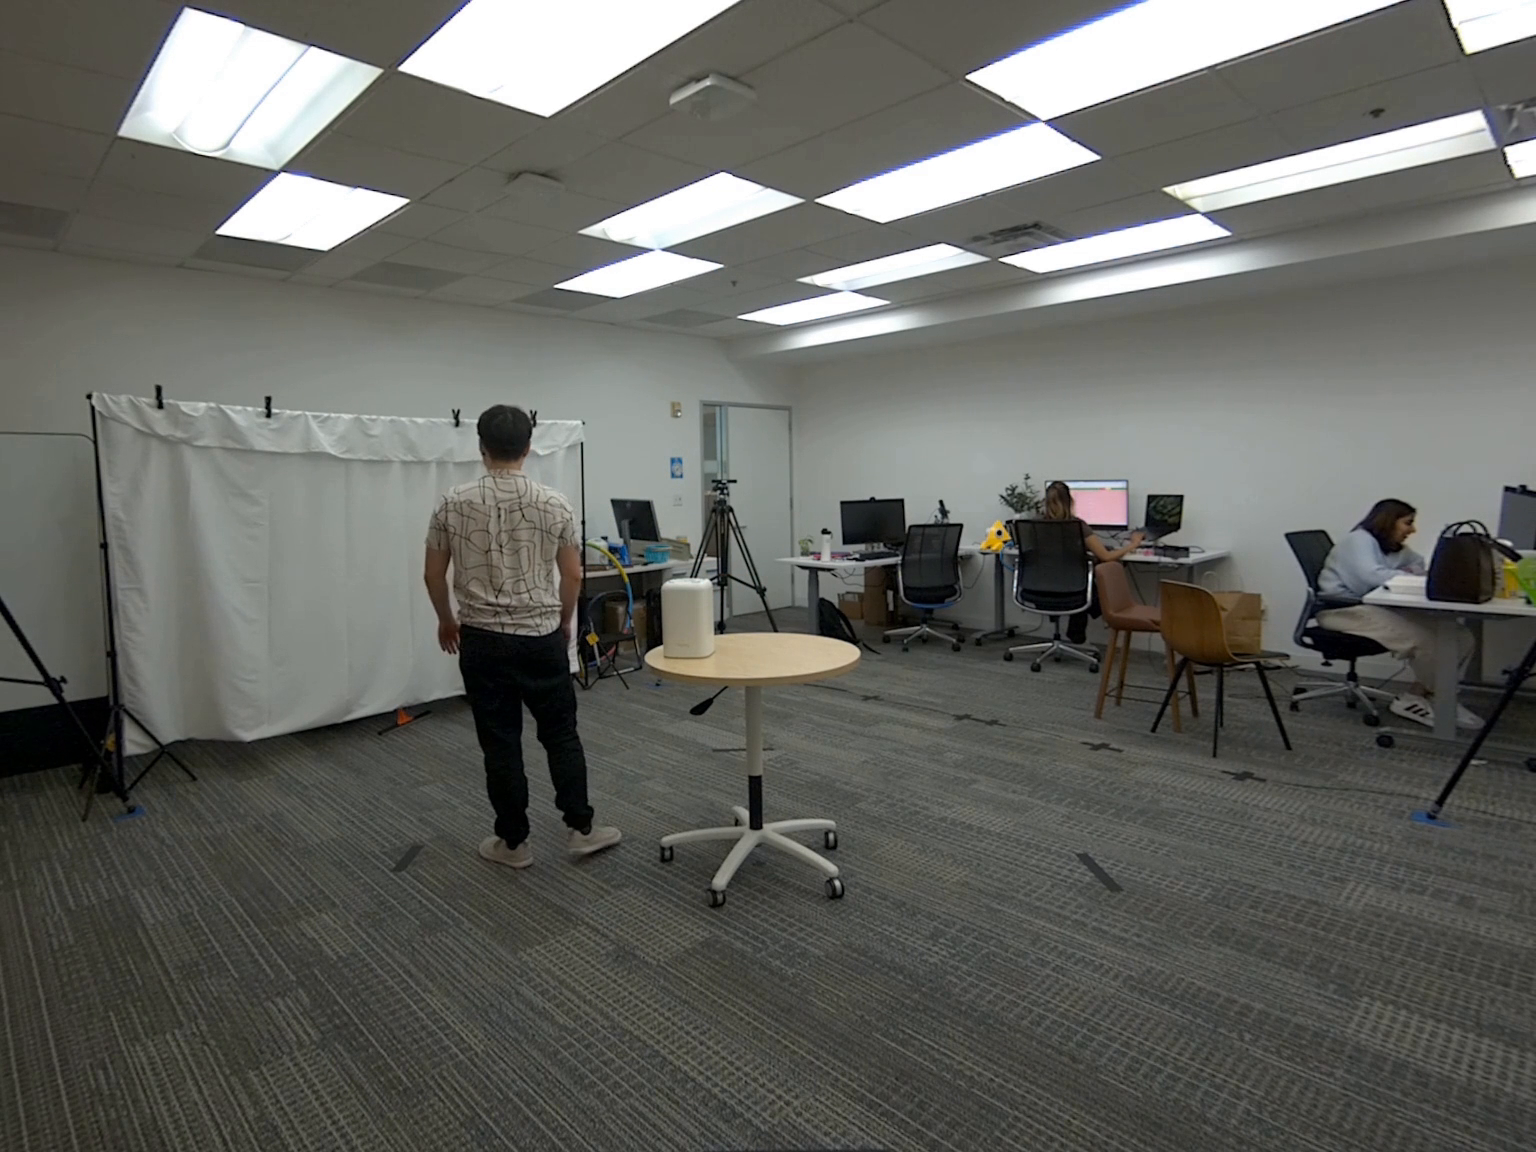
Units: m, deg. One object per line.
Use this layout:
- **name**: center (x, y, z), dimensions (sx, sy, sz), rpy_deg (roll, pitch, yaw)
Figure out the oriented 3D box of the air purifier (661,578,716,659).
- **air purifier**: center (-0.289, 0.148, 3.053), dimensions (0.173, 0.264, 0.170), rpy_deg (0, 6, 13)
